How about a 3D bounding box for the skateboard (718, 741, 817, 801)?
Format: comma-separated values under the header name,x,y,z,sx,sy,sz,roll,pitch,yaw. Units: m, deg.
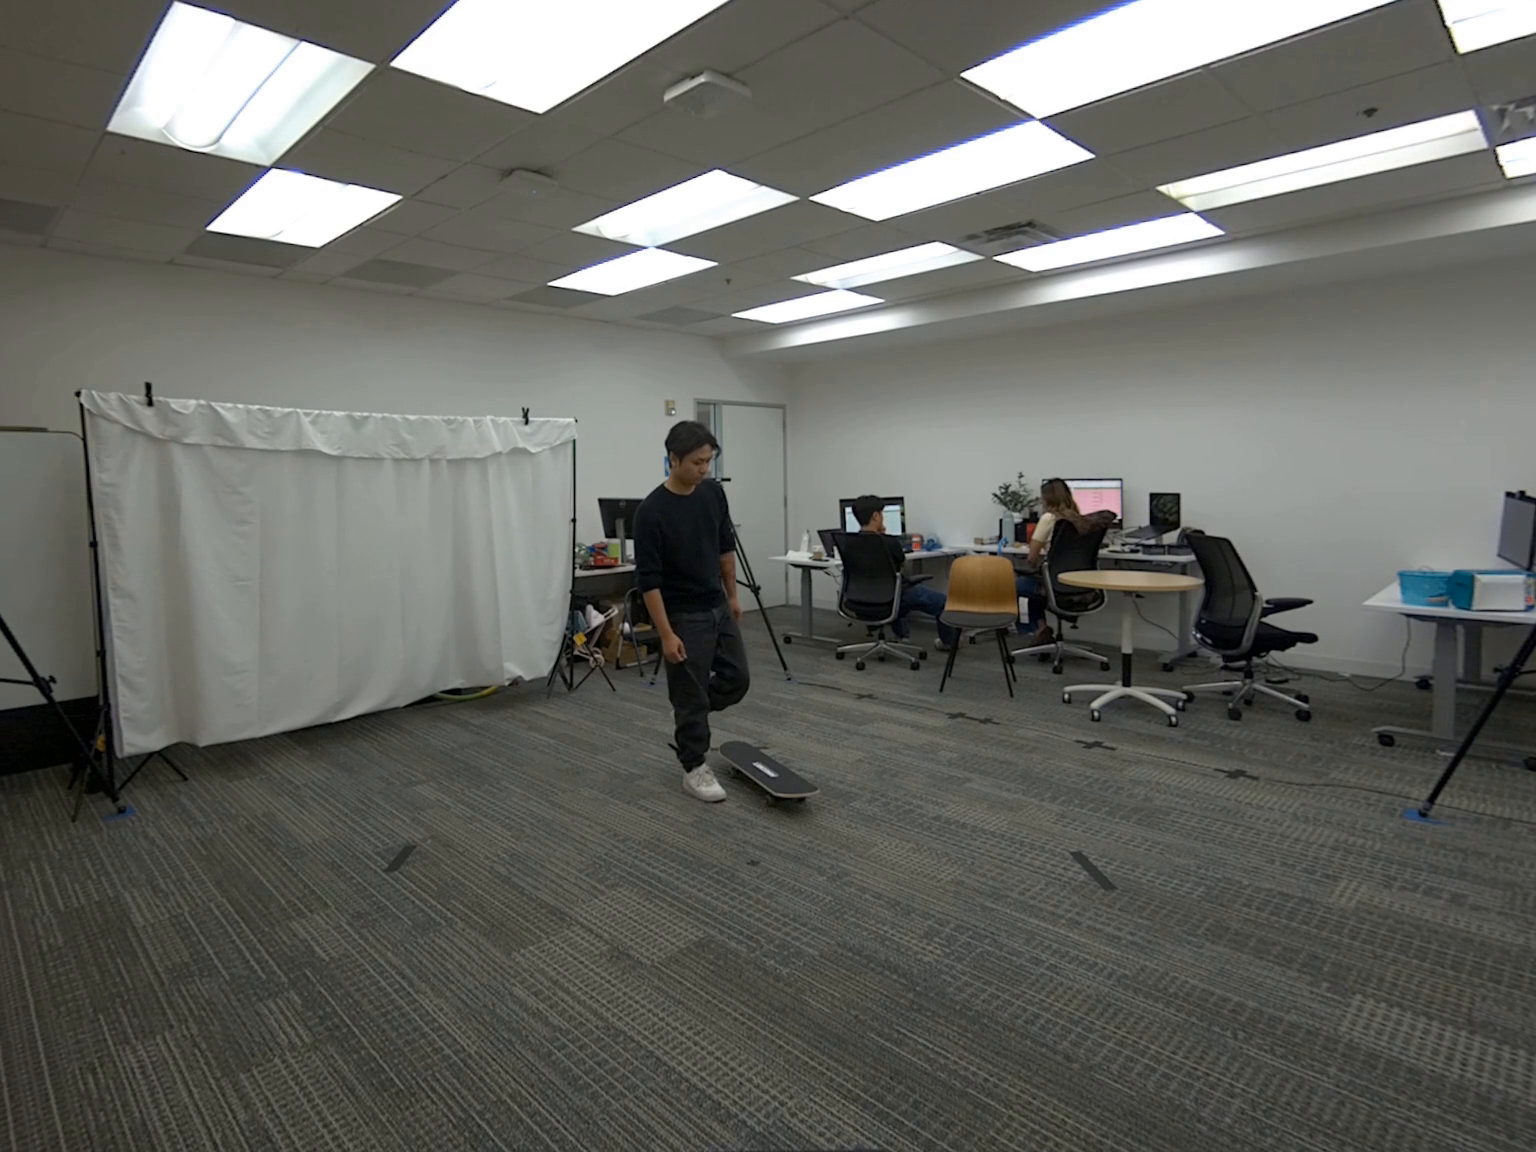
name,x,y,z,sx,sy,sz,roll,pitch,yaw
skateboard,-0.004,0.902,3.843,0.189,0.110,0.805,-4,7,-25
